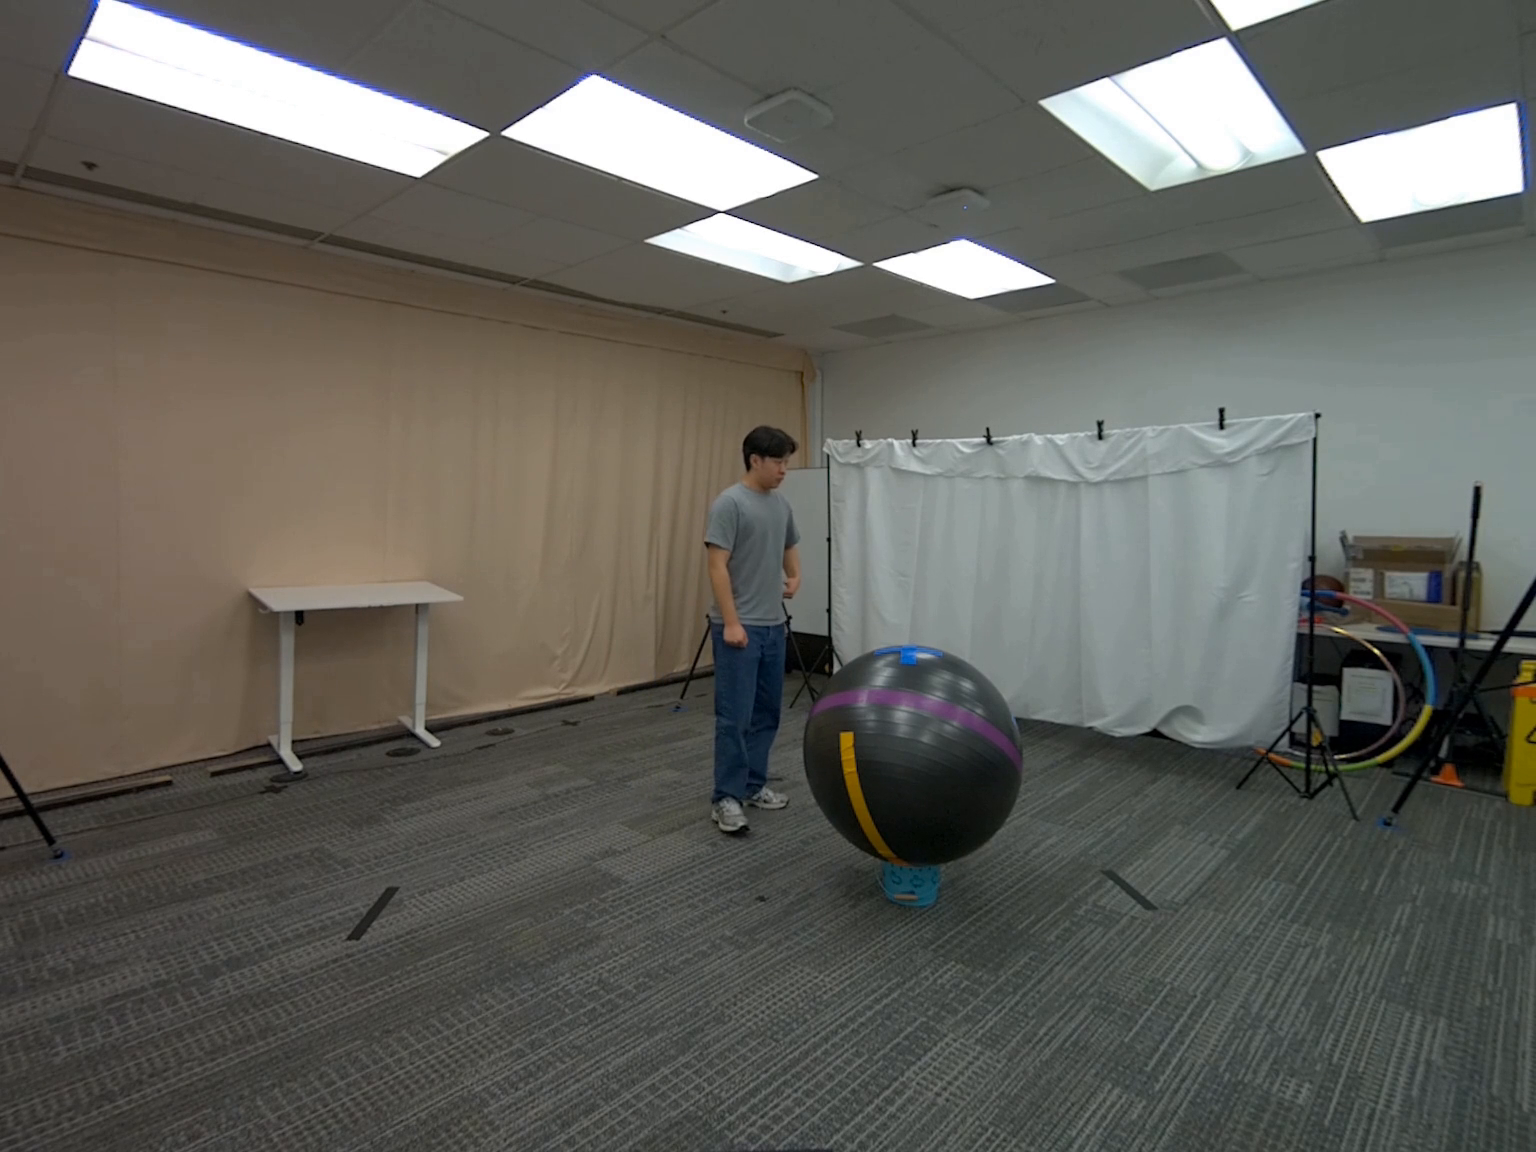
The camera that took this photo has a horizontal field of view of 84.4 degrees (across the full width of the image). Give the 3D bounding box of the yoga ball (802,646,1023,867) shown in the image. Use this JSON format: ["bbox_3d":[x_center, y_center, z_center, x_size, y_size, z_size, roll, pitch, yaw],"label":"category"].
[{"bbox_3d":[0.511,0.633,2.993,0.757,0.756,0.760,0,4,-2],"label":"yoga ball"}]
